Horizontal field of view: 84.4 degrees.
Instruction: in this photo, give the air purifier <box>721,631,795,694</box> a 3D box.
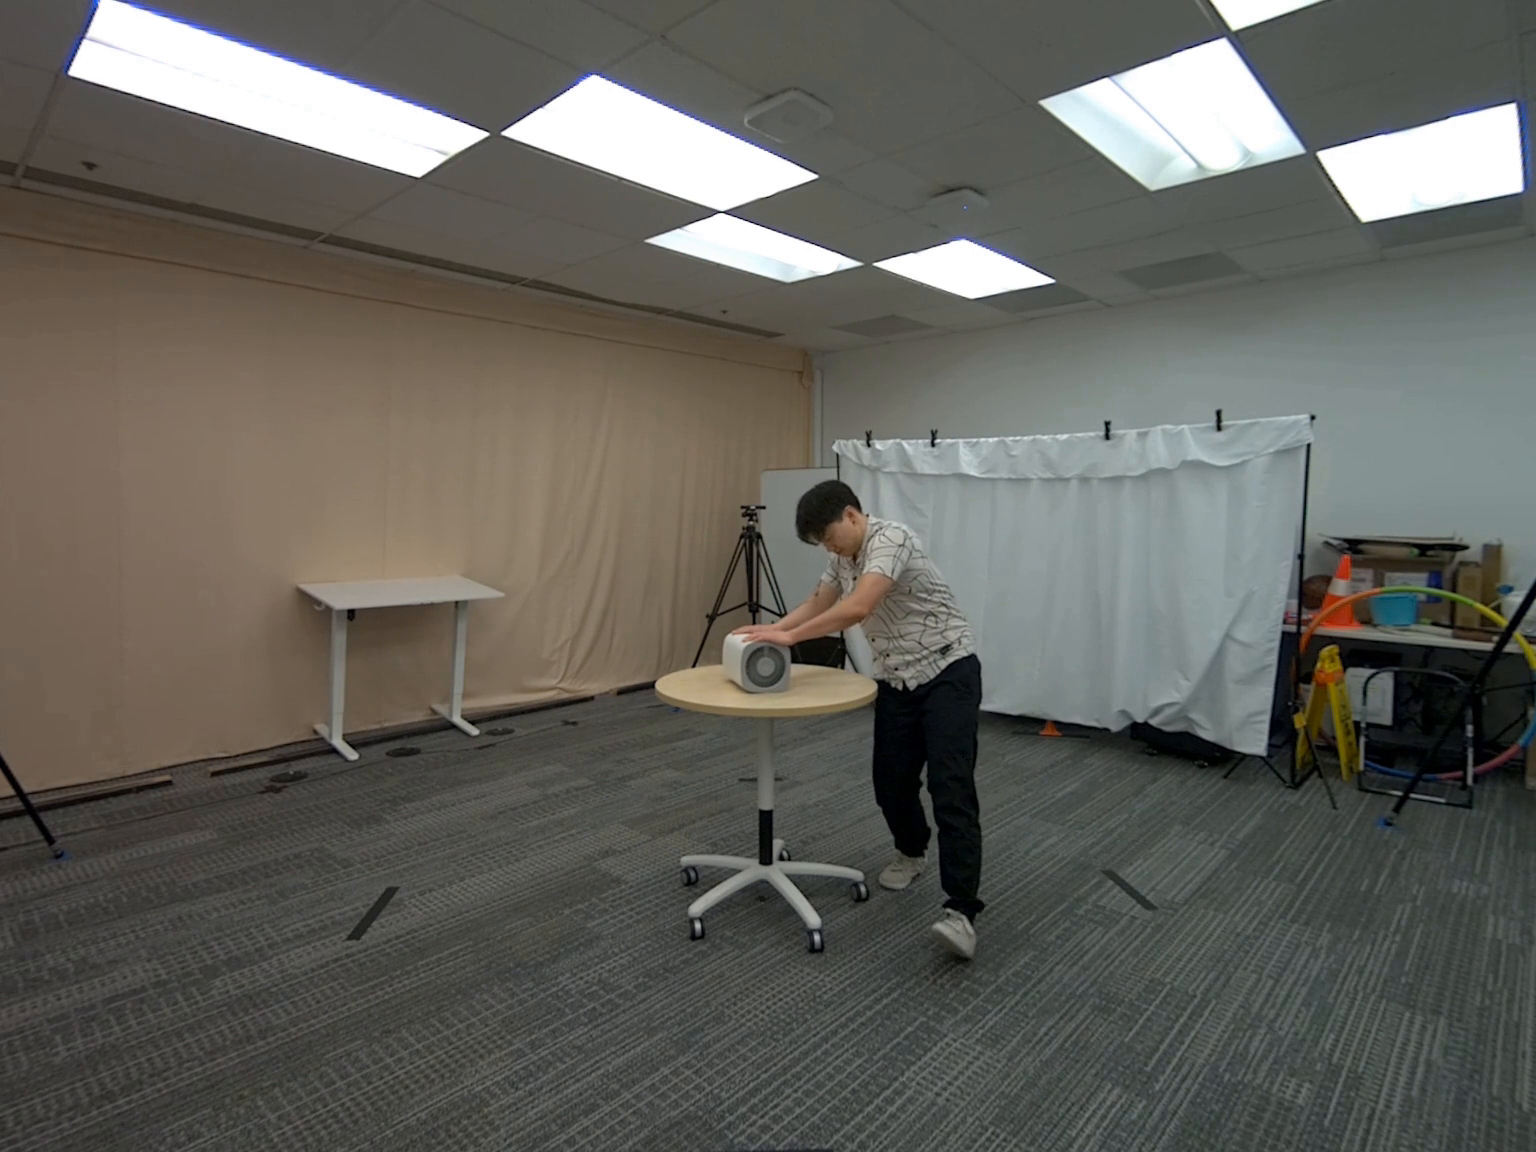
[{"bbox_3d":[-0.040,0.286,2.882,0.168,0.171,0.270,-1,2,-18],"label":"air purifier"}]
